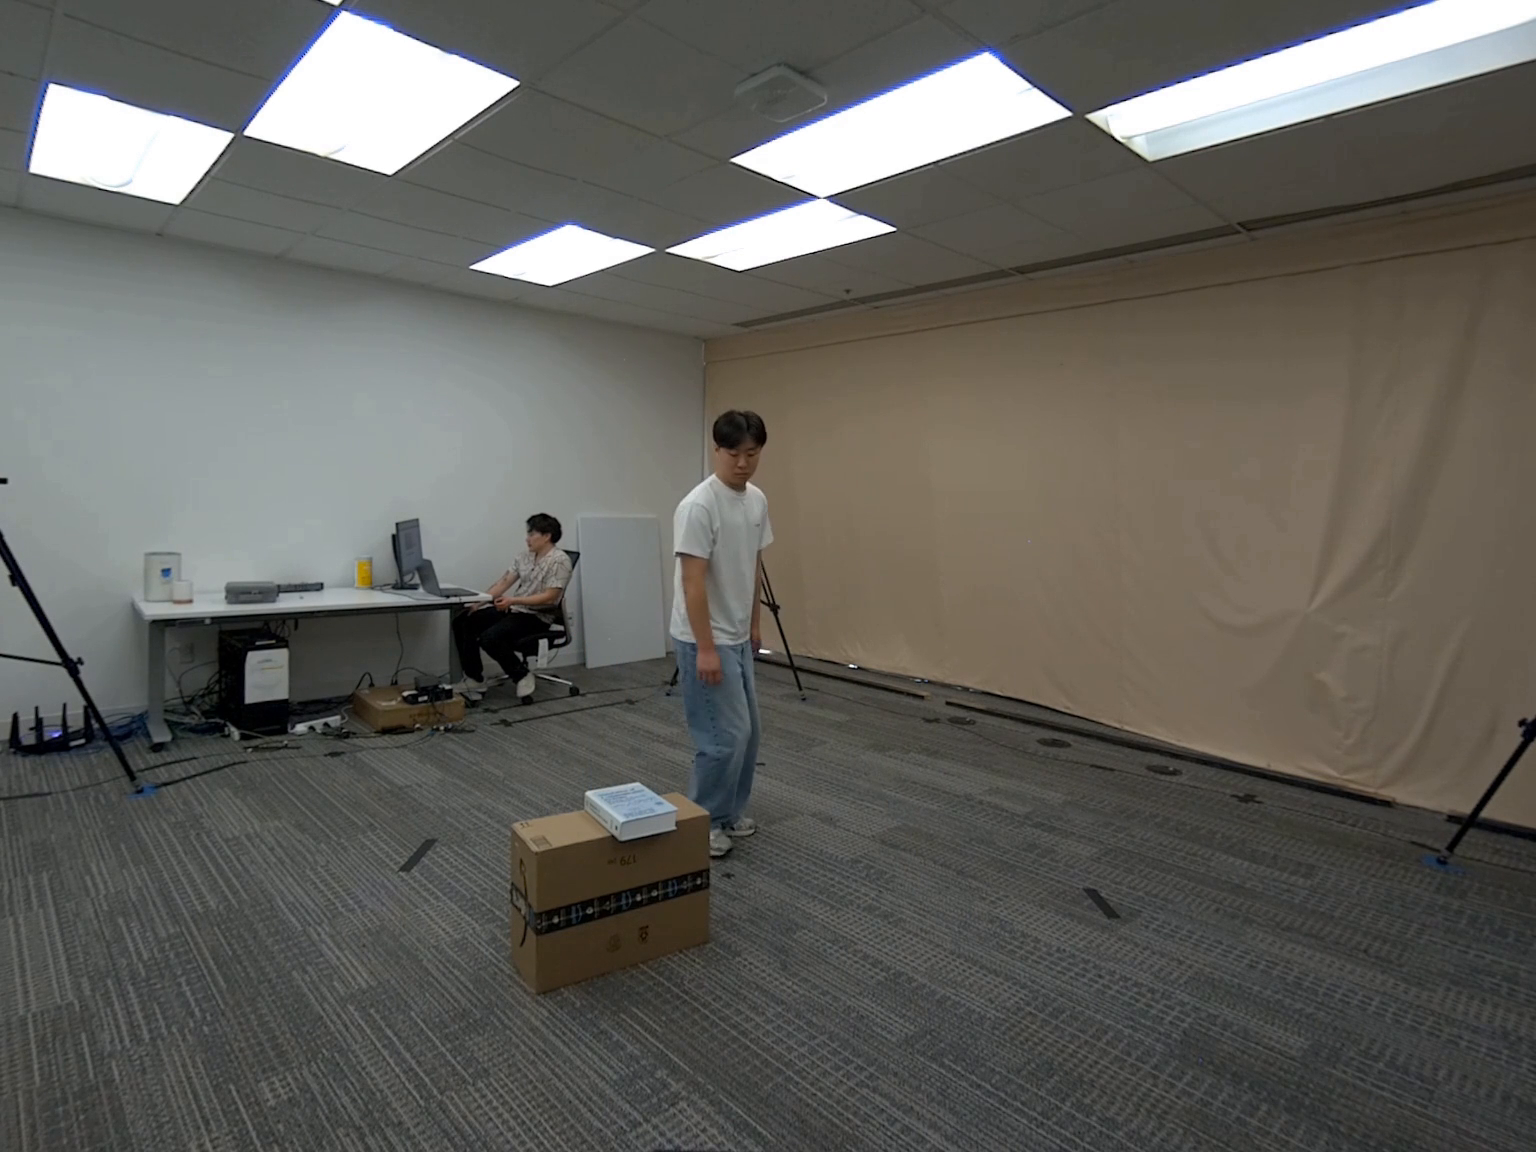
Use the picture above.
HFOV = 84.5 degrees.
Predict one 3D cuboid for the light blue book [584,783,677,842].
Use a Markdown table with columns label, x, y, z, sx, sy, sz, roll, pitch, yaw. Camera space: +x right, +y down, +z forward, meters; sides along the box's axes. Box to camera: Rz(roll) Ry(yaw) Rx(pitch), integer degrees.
| label | x | y | z | sx | sy | sz | roll | pitch | yaw |
| --- | --- | --- | --- | --- | --- | --- | --- | --- | --- |
| light blue book | -0.429 | 0.710 | 2.531 | 0.187 | 0.059 | 0.267 | -1 | 7 | -33 |
